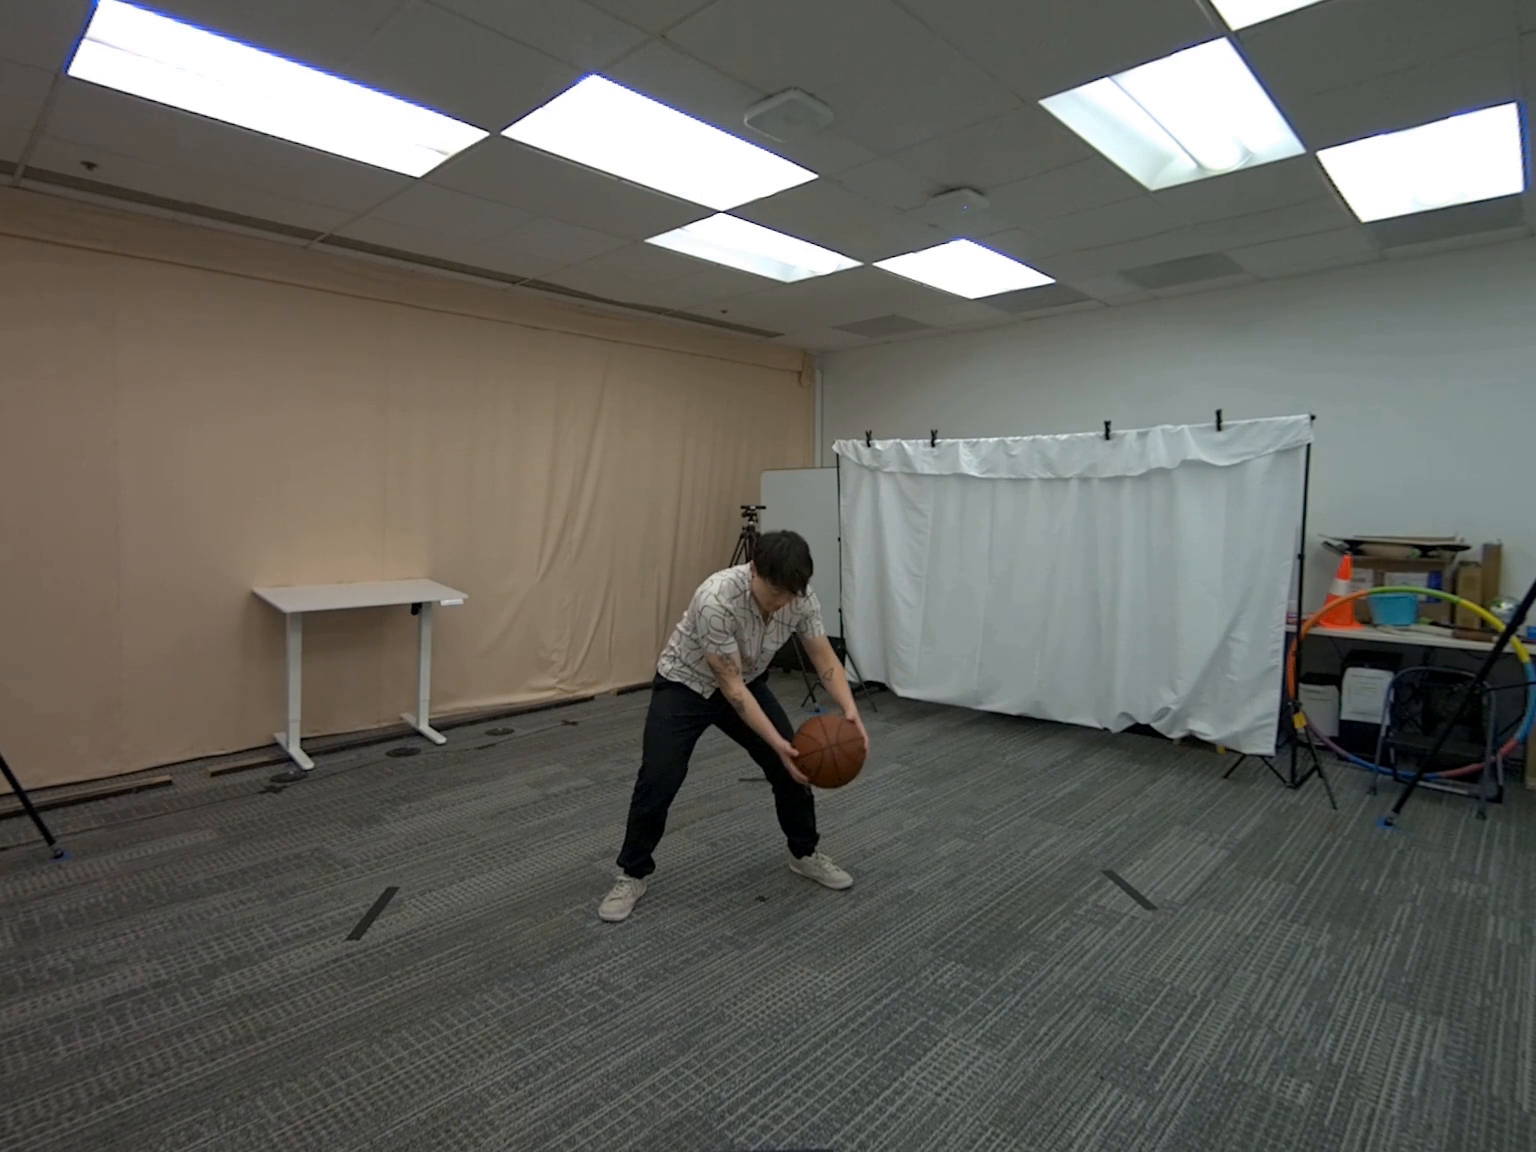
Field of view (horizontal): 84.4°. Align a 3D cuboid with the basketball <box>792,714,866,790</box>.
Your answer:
[{"bbox_3d":[0.200,0.555,2.735,0.236,0.235,0.237,0,4,-2],"label":"basketball"}]
